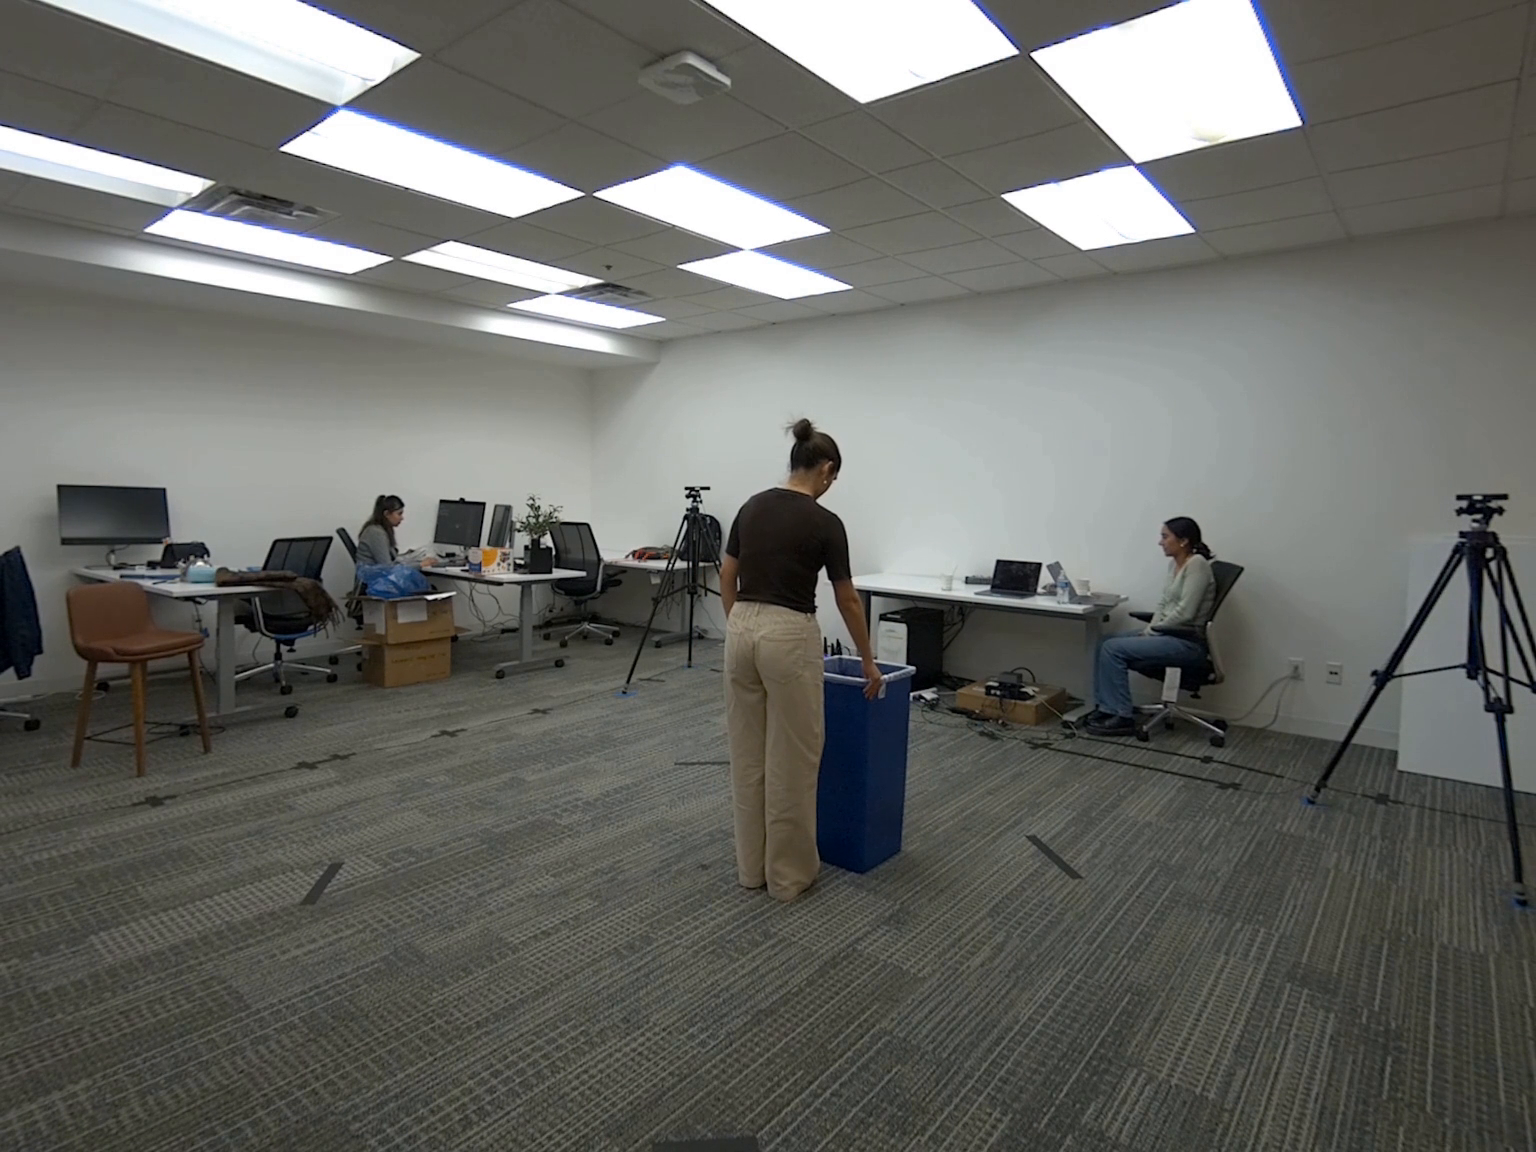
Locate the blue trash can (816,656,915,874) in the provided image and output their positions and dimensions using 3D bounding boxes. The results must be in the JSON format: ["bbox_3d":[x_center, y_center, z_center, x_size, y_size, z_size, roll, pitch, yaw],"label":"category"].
[{"bbox_3d":[0.313,0.698,3.276,0.390,0.711,0.363,3,4,38],"label":"blue trash can"}]
